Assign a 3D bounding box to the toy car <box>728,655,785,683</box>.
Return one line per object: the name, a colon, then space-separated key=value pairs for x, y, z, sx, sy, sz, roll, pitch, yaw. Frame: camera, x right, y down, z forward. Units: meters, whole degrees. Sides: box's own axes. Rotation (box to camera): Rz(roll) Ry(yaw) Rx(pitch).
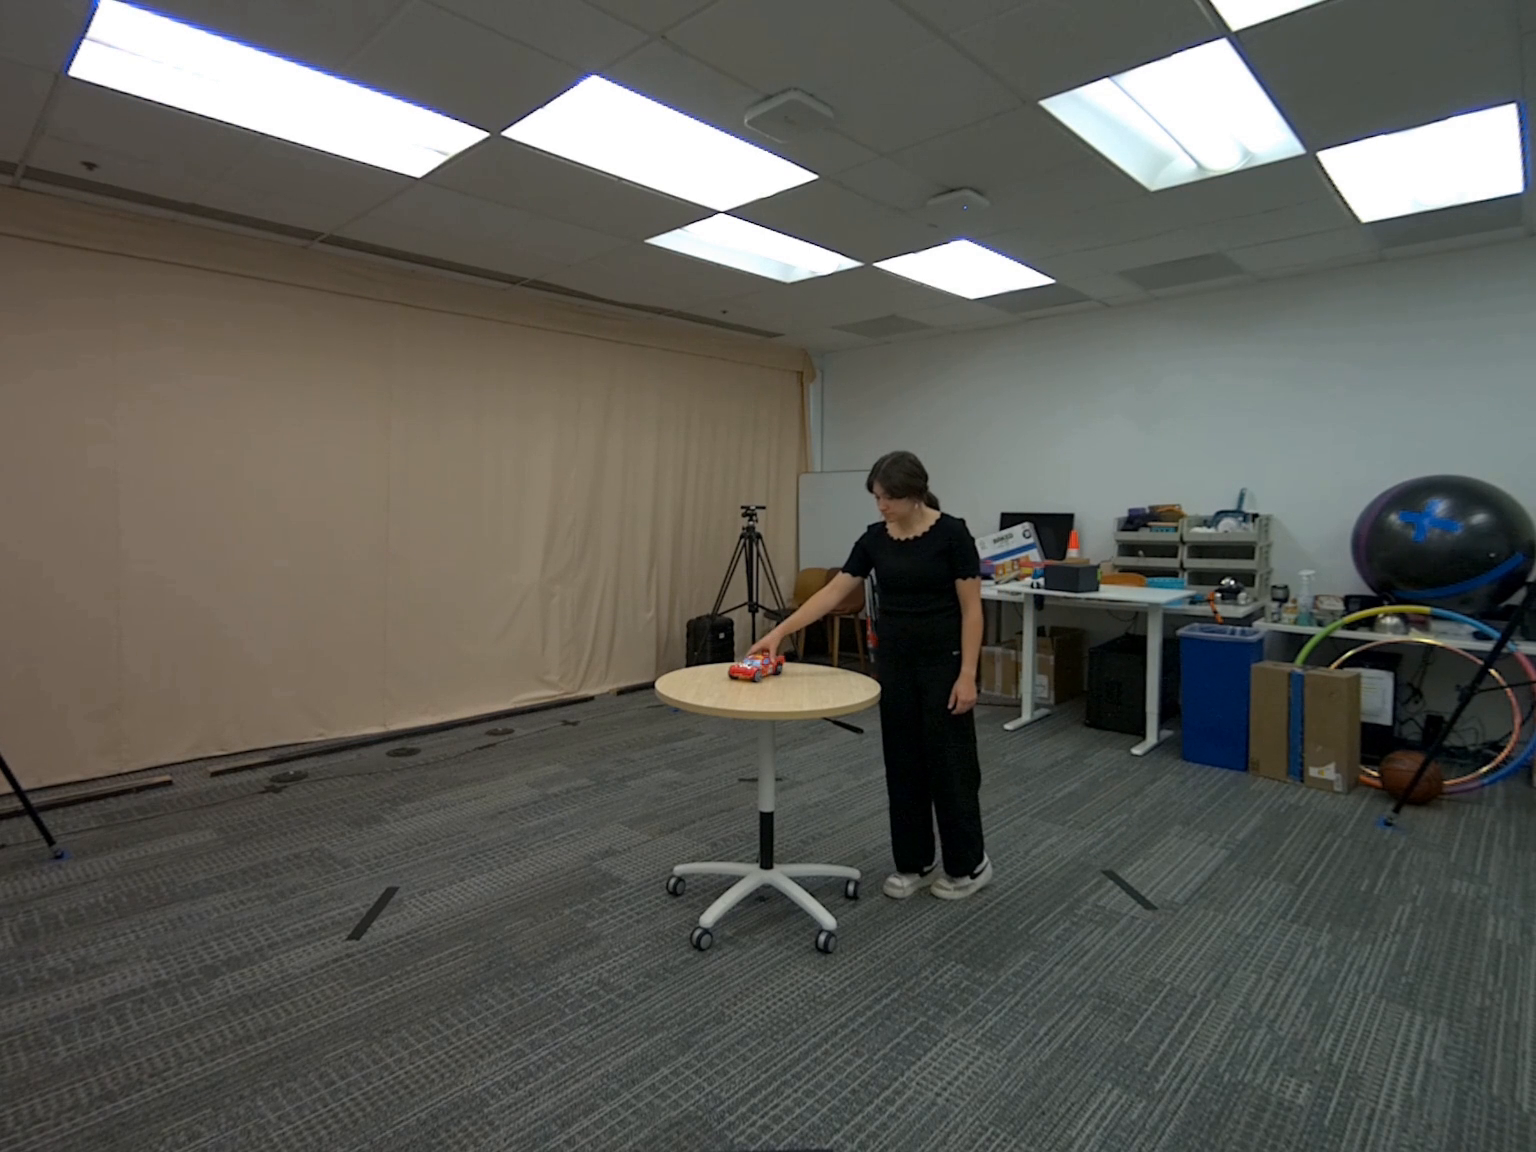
toy car: x=-0.027 y=0.329 z=3.006 sx=0.134 sy=0.082 sz=0.249 roll=3 pitch=16 yaw=32
